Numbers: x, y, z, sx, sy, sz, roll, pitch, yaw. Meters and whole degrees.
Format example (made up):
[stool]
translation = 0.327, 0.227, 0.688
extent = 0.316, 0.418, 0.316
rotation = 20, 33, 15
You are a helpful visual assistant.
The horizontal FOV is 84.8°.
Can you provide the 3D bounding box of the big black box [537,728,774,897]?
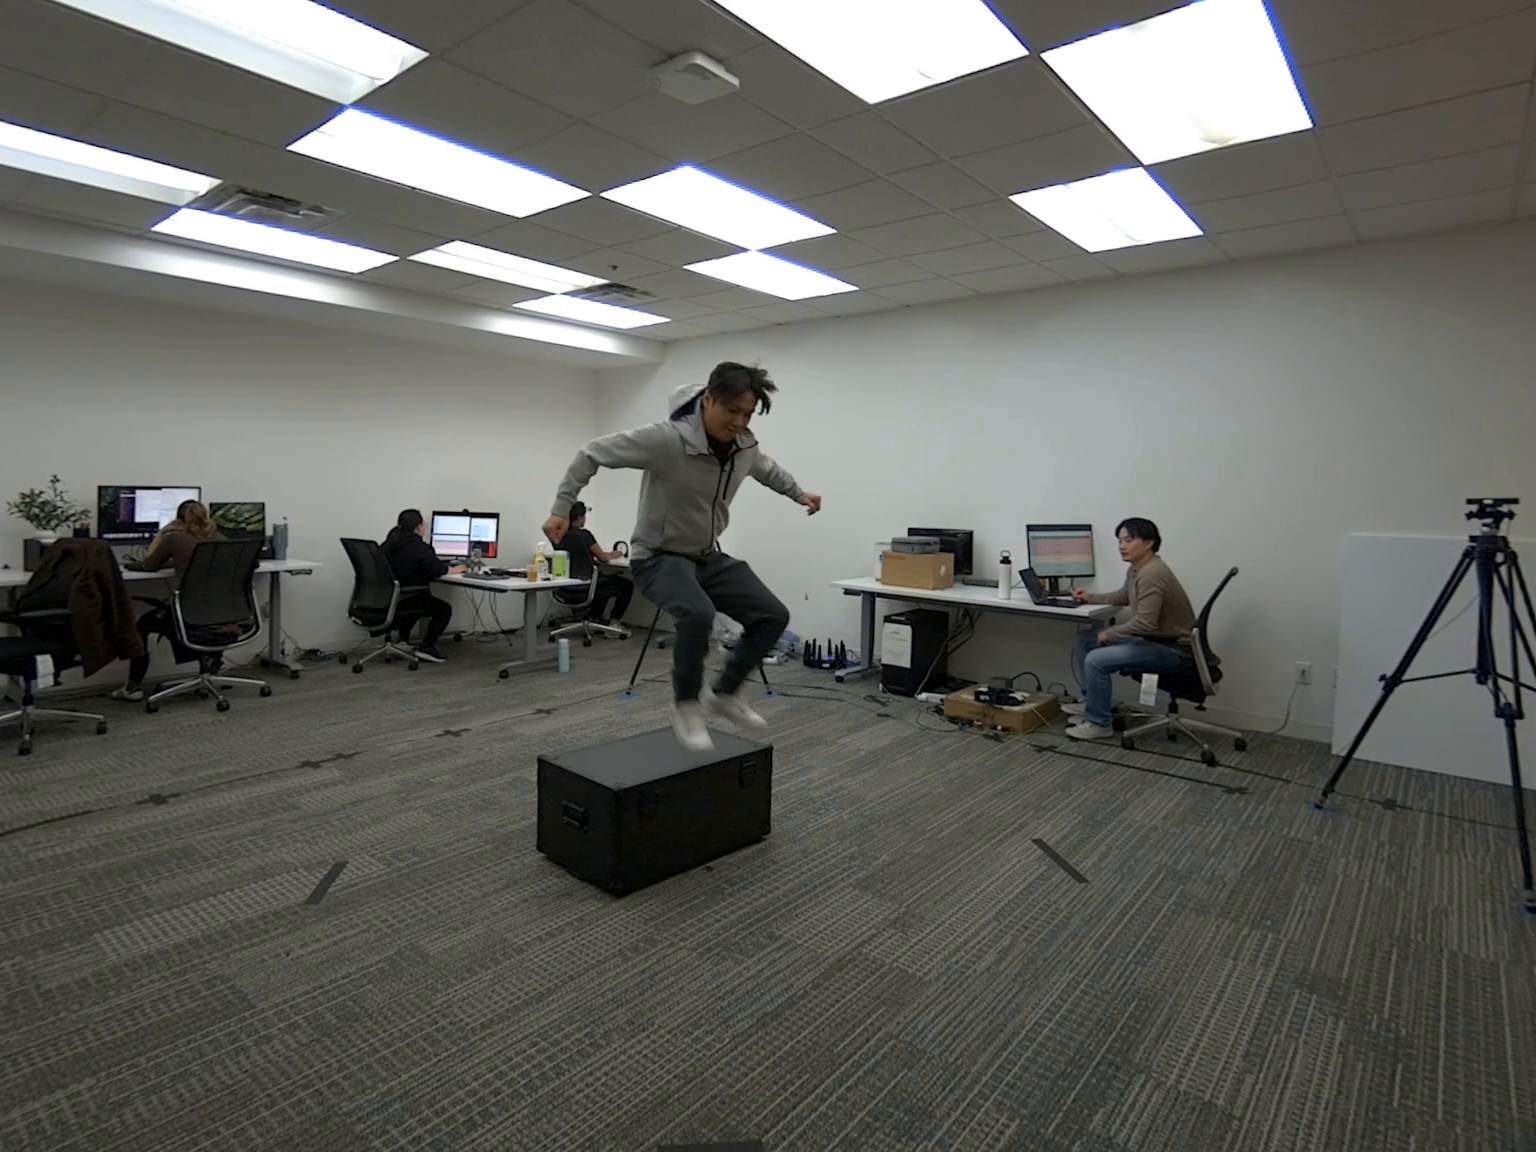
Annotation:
[big black box]
translation = -0.413, 0.854, 3.292
extent = 0.539, 0.395, 0.836
rotation = 6, 7, 43
